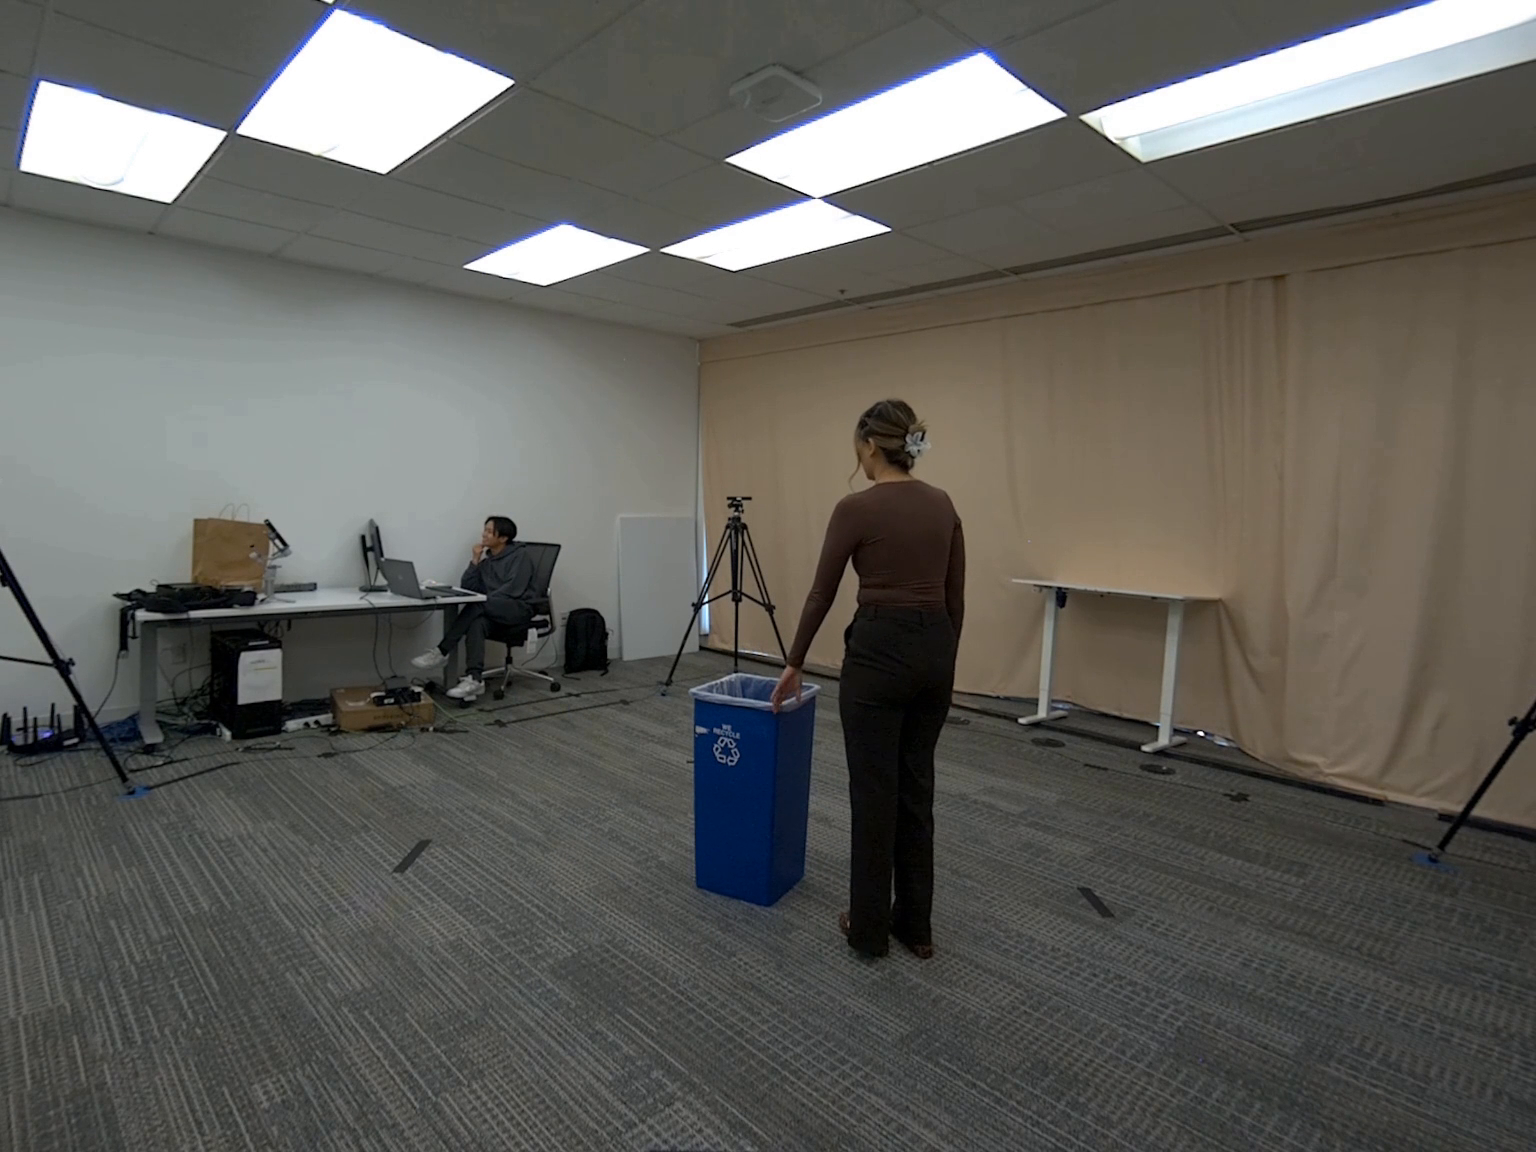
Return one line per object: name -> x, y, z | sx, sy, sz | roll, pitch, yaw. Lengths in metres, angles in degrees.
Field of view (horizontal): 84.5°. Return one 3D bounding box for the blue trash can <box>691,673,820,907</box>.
blue trash can -> -0.054, 0.755, 3.045 | 0.382, 0.712, 0.371 | 3, 4, 28
